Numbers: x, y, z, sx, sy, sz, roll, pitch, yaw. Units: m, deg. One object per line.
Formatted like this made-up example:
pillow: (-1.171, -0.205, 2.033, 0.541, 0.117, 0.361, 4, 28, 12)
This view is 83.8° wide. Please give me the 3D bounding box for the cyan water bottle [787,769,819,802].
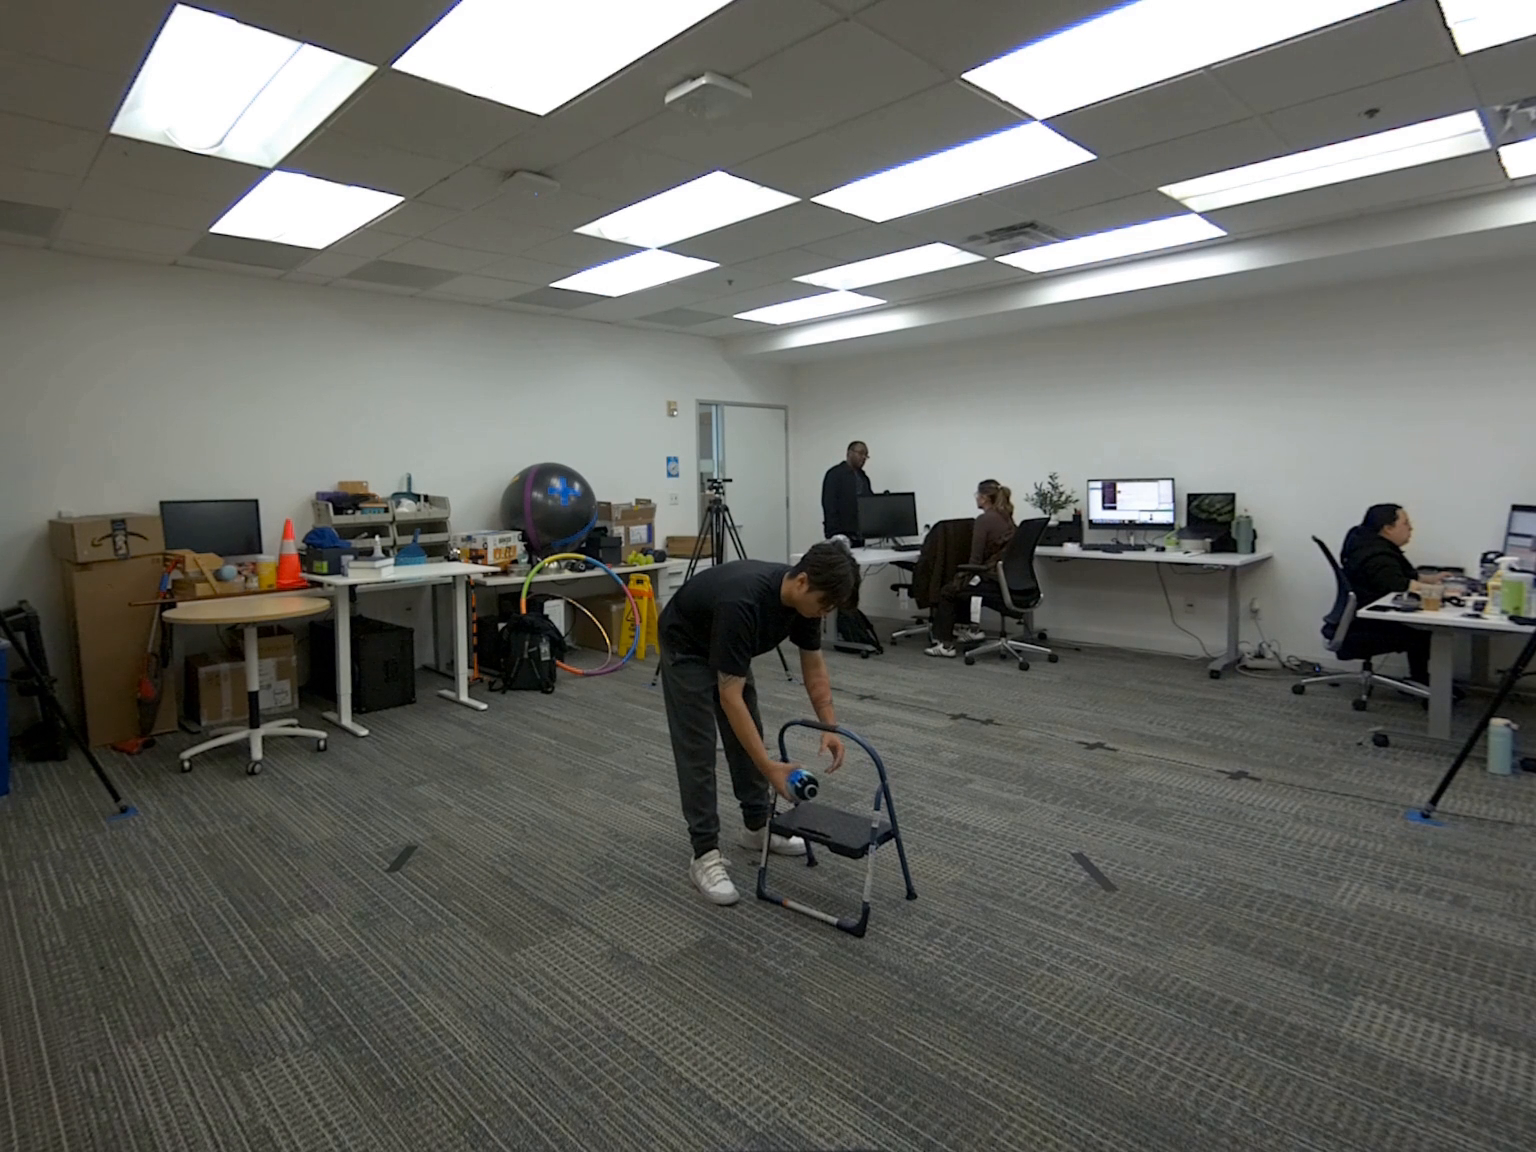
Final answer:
cyan water bottle: (0.093, 0.651, 2.691, 0.091, 0.093, 0.284, -2, -5, -11)
